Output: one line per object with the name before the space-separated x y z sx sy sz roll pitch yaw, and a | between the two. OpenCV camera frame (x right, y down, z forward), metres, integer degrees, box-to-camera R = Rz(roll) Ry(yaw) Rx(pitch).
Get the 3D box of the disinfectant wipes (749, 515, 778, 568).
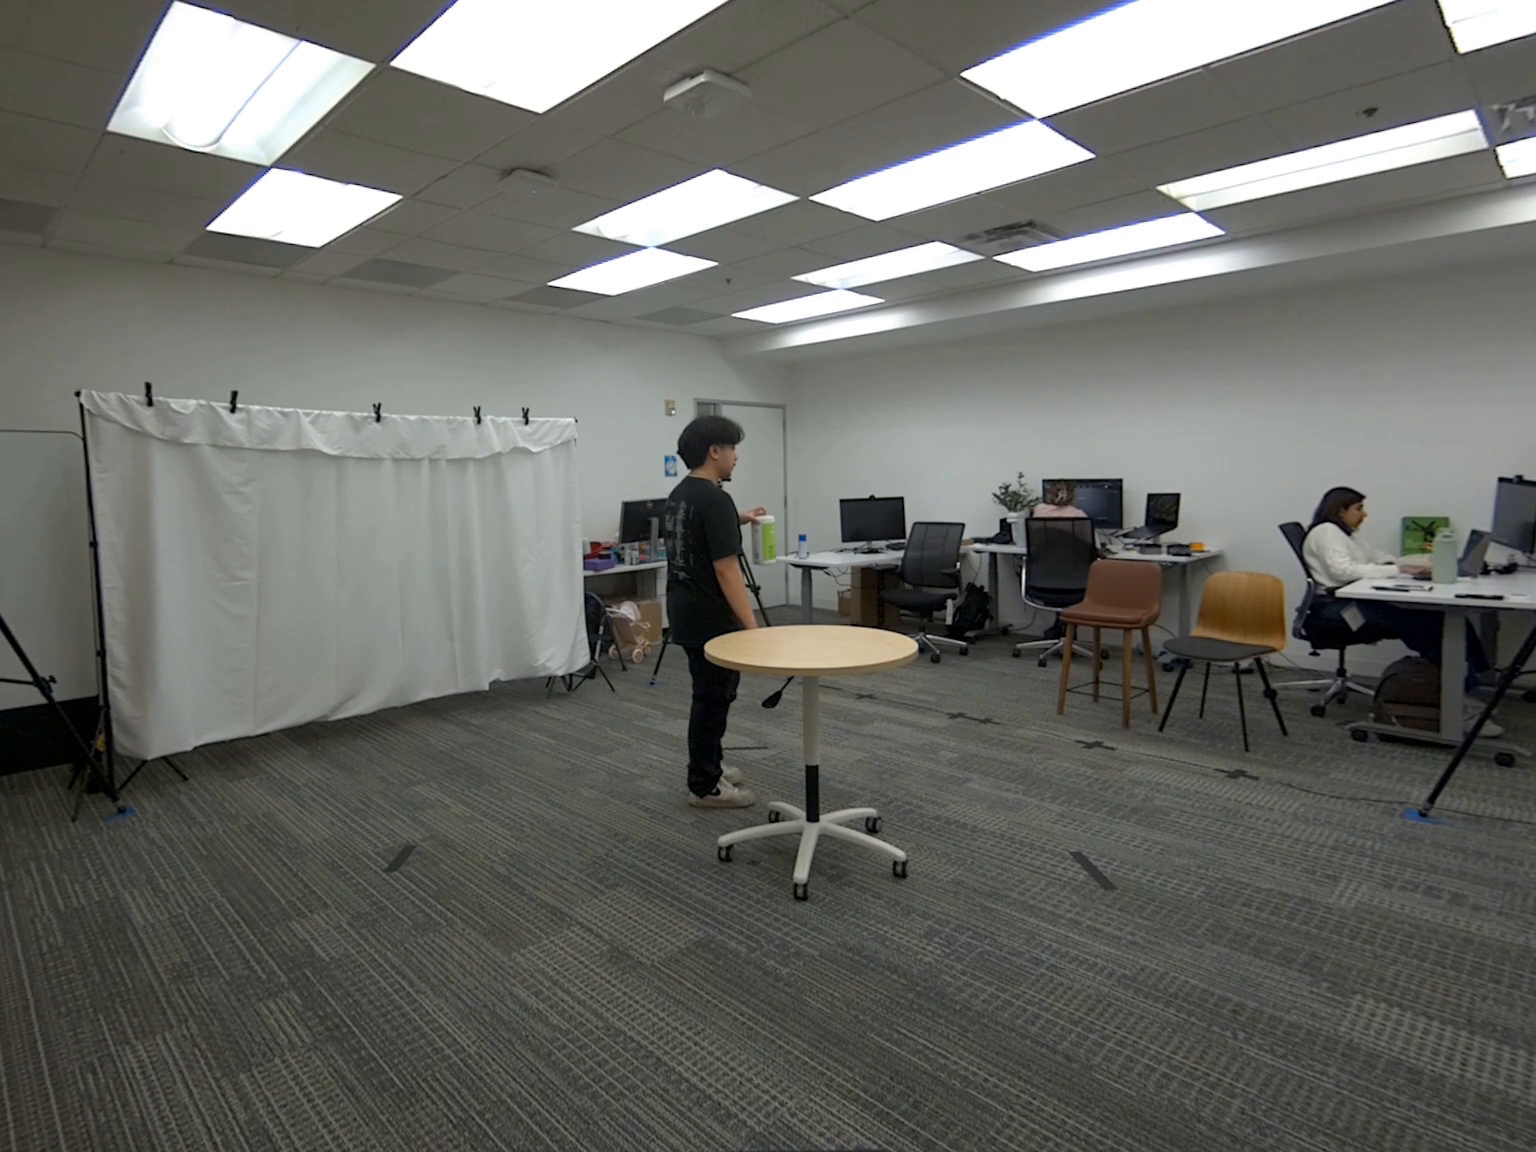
disinfectant wipes | -0.023 -0.160 3.863 0.118 0.216 0.119 0 8 -2
